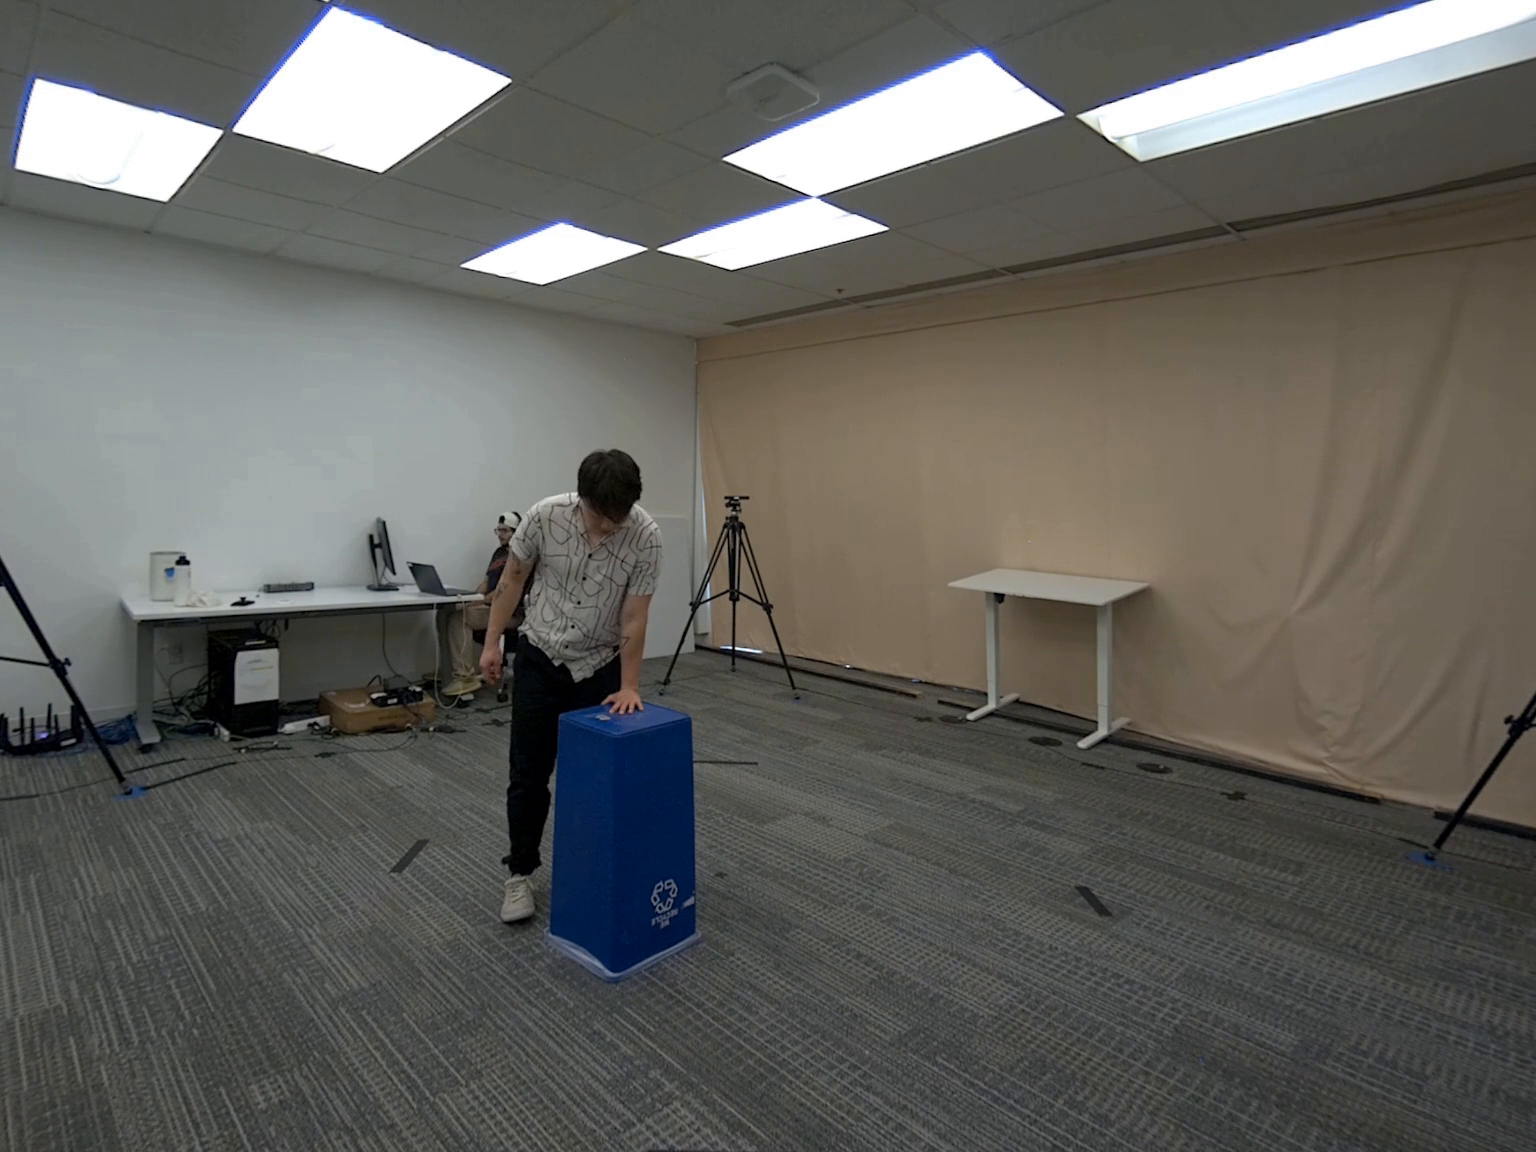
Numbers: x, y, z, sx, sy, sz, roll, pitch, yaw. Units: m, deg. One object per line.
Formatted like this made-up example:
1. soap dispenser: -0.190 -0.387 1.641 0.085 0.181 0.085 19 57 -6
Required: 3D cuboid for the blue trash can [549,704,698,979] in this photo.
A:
1. blue trash can: -0.465 0.788 2.621 0.387 0.712 0.366 4 5 44
